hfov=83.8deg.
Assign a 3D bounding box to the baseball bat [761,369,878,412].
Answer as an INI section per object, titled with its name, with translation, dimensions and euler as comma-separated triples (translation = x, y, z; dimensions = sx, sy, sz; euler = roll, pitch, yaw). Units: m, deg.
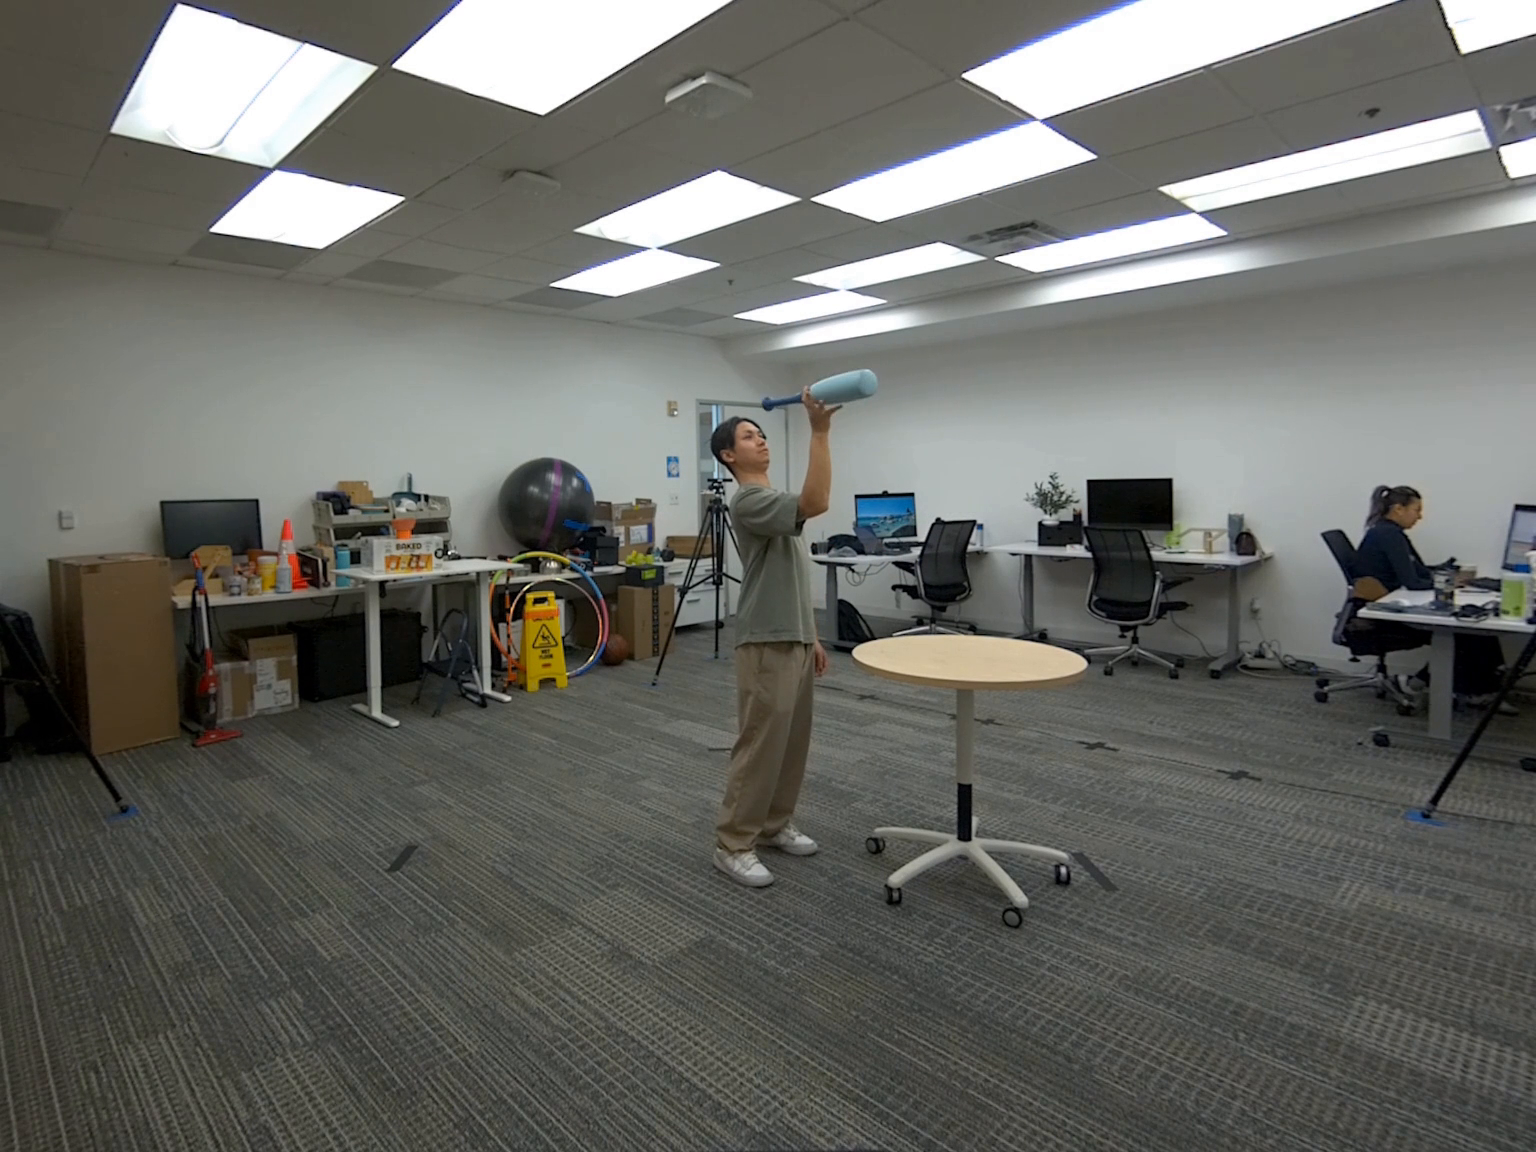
[baseball bat]
translation = 0.151, -0.594, 2.810
dimensions = 0.087, 0.089, 0.557
euler = -4, 4, -34
